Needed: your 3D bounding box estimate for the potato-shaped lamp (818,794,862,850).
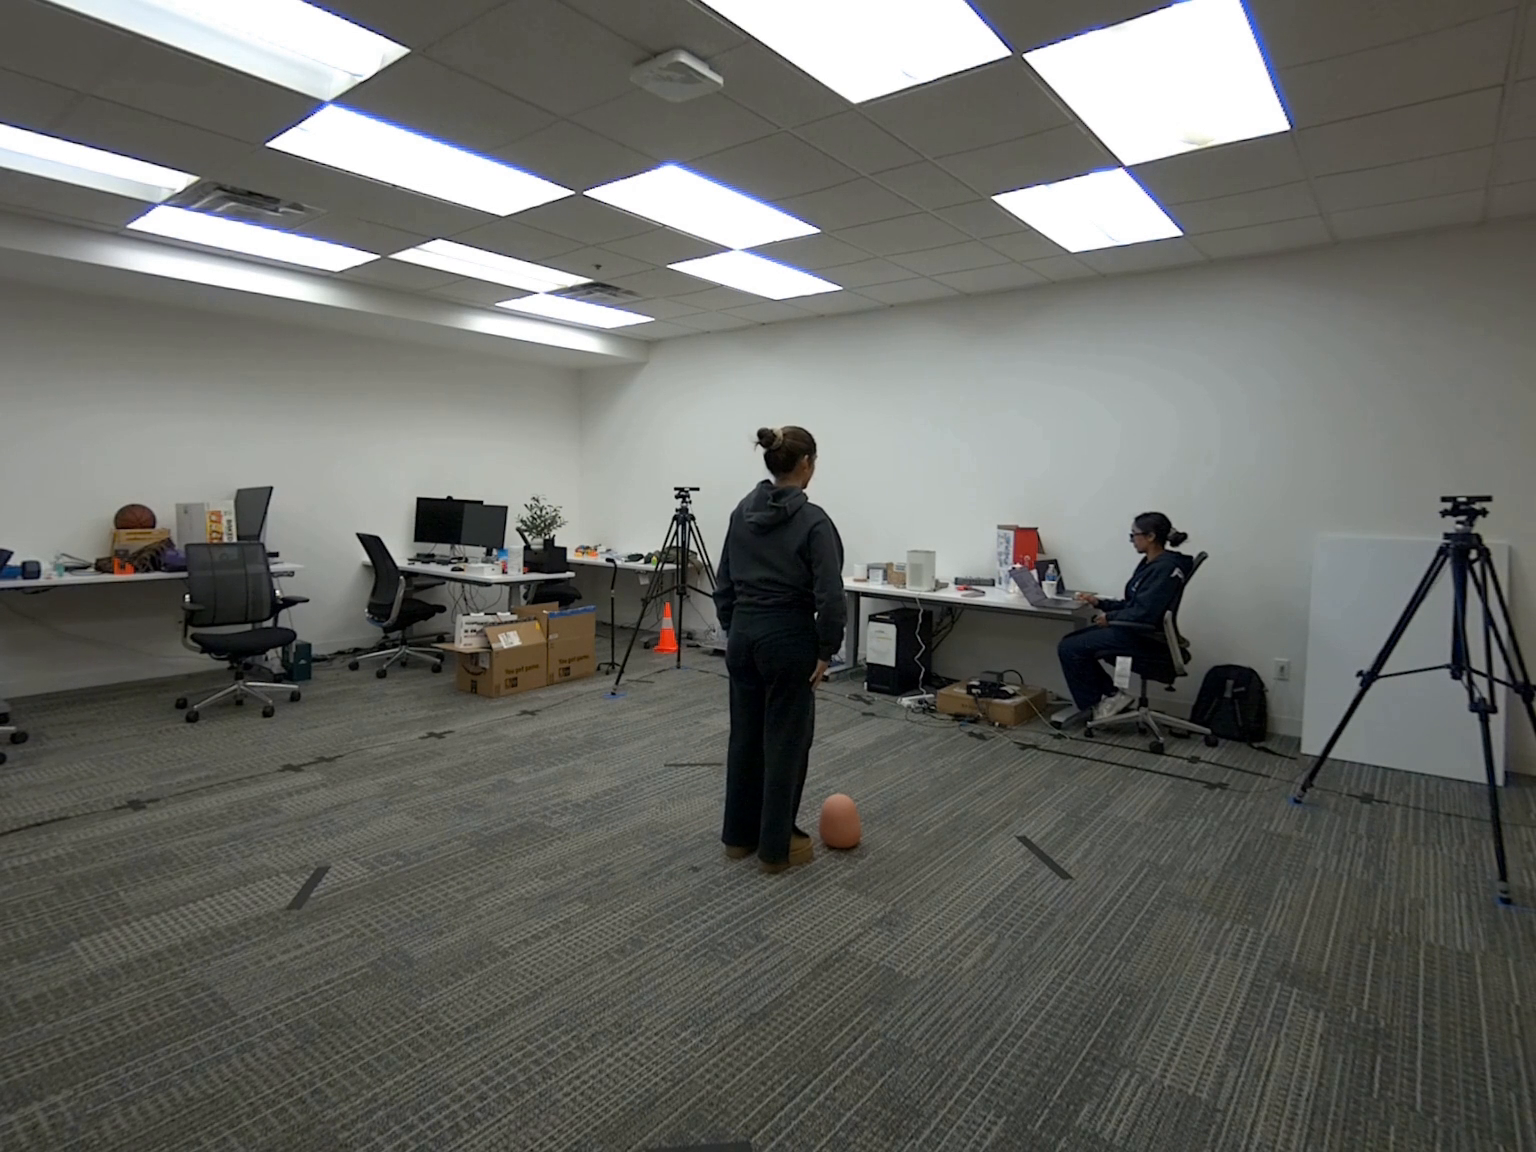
[{"bbox_3d":[0.281,0.956,3.347,0.170,0.198,0.166,3,2,31],"label":"potato-shaped lamp"}]
